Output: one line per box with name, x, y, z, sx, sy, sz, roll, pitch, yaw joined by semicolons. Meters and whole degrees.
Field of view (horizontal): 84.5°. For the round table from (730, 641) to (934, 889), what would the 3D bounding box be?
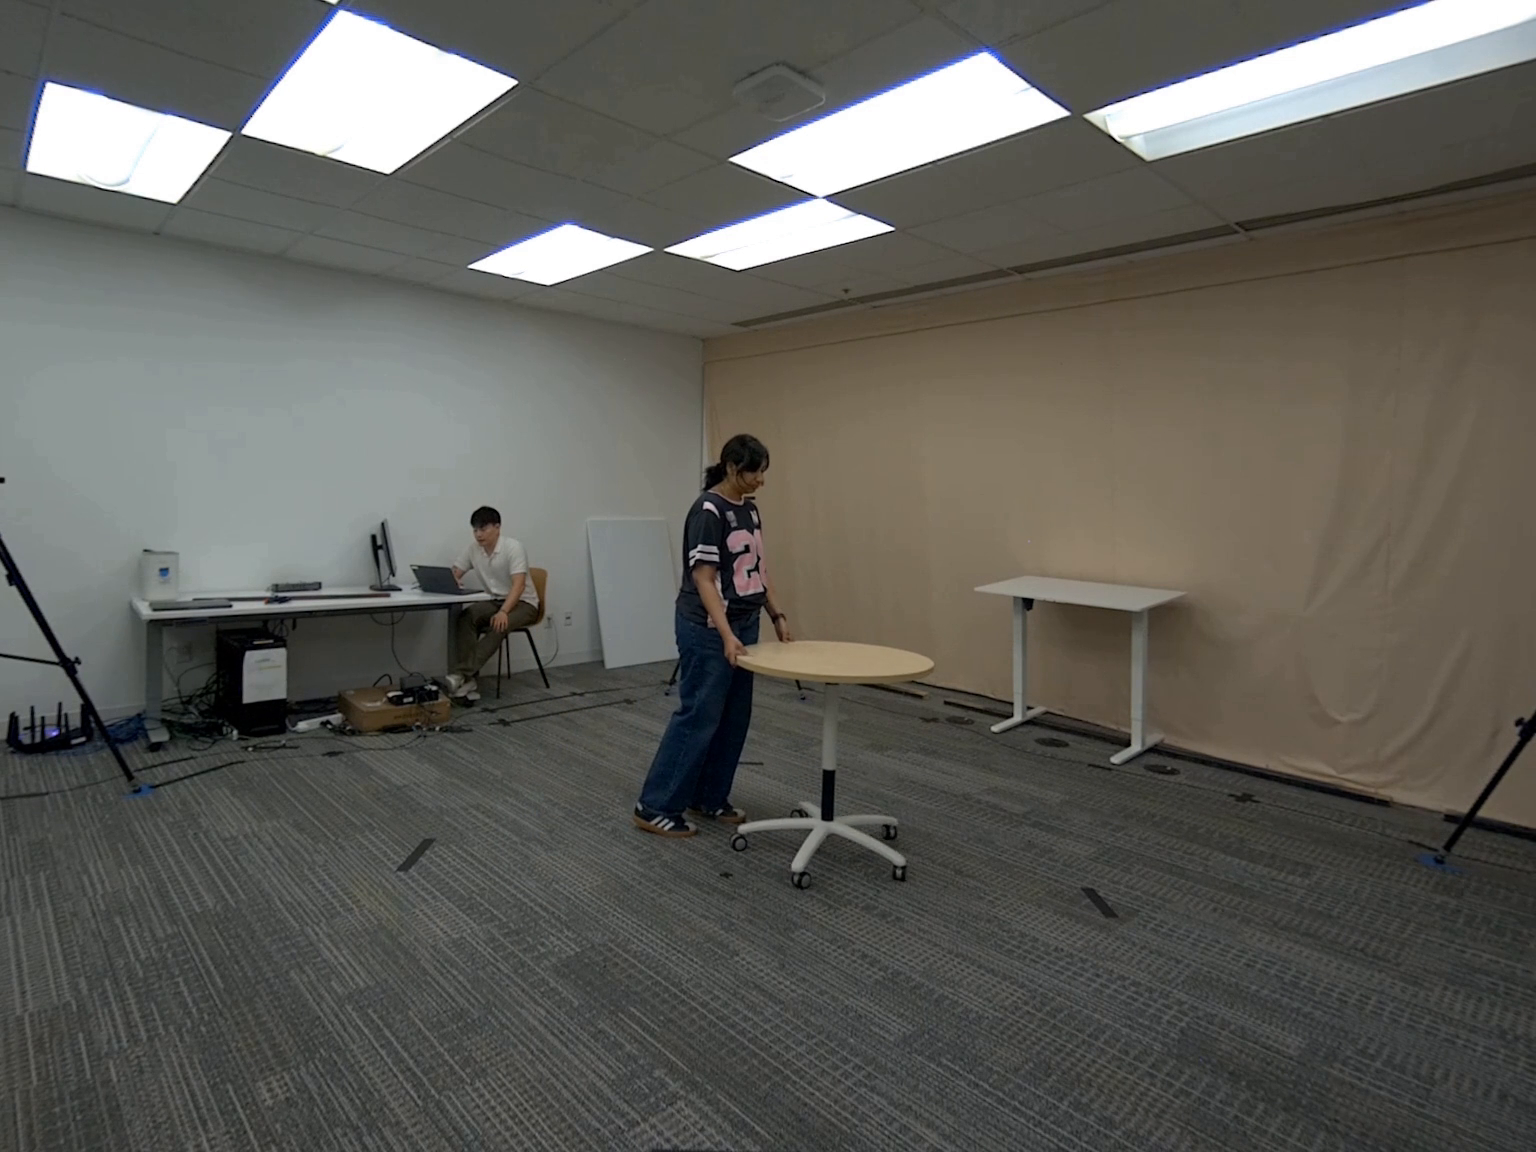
round table;0.232;0.708;3.283;0.763;0.792;0.766;2;3;-1
